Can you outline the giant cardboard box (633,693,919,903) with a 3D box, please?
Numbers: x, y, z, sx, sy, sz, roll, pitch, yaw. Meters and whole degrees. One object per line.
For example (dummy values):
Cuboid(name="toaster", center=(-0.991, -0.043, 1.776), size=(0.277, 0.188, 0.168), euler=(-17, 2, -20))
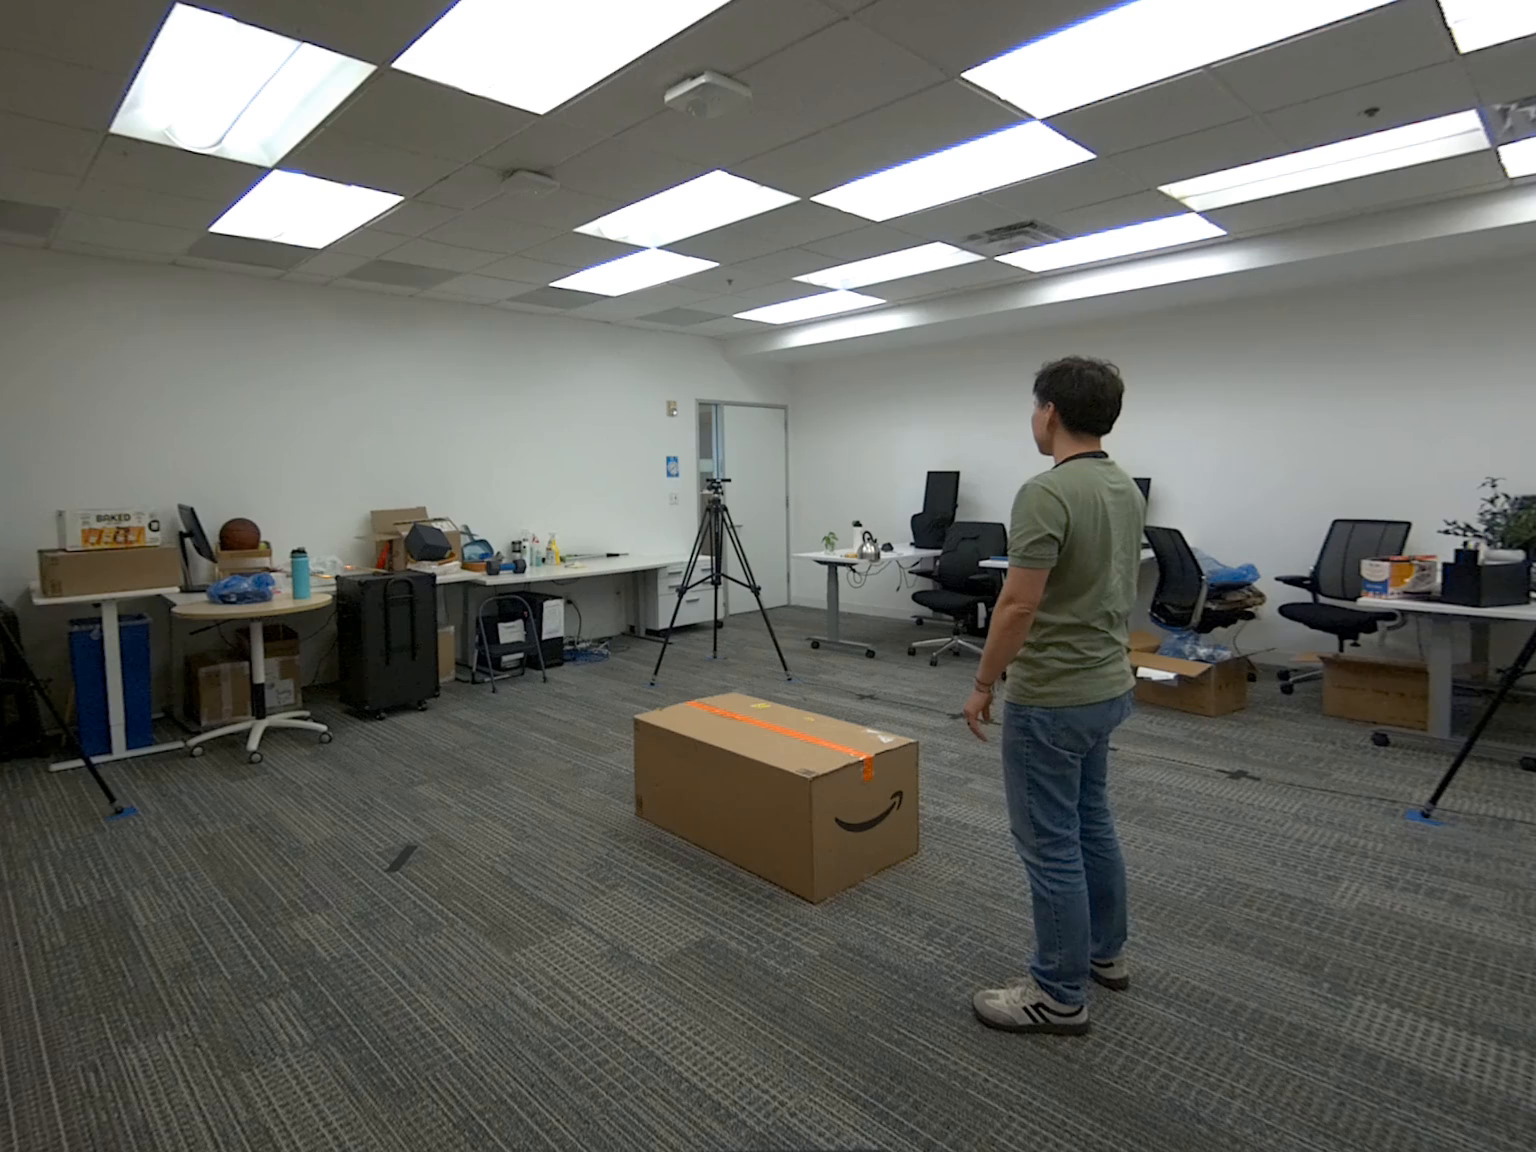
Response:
Cuboid(name="giant cardboard box", center=(0.000, 0.803, 3.355), size=(0.562, 0.424, 1.058), euler=(-5, 7, -42))
